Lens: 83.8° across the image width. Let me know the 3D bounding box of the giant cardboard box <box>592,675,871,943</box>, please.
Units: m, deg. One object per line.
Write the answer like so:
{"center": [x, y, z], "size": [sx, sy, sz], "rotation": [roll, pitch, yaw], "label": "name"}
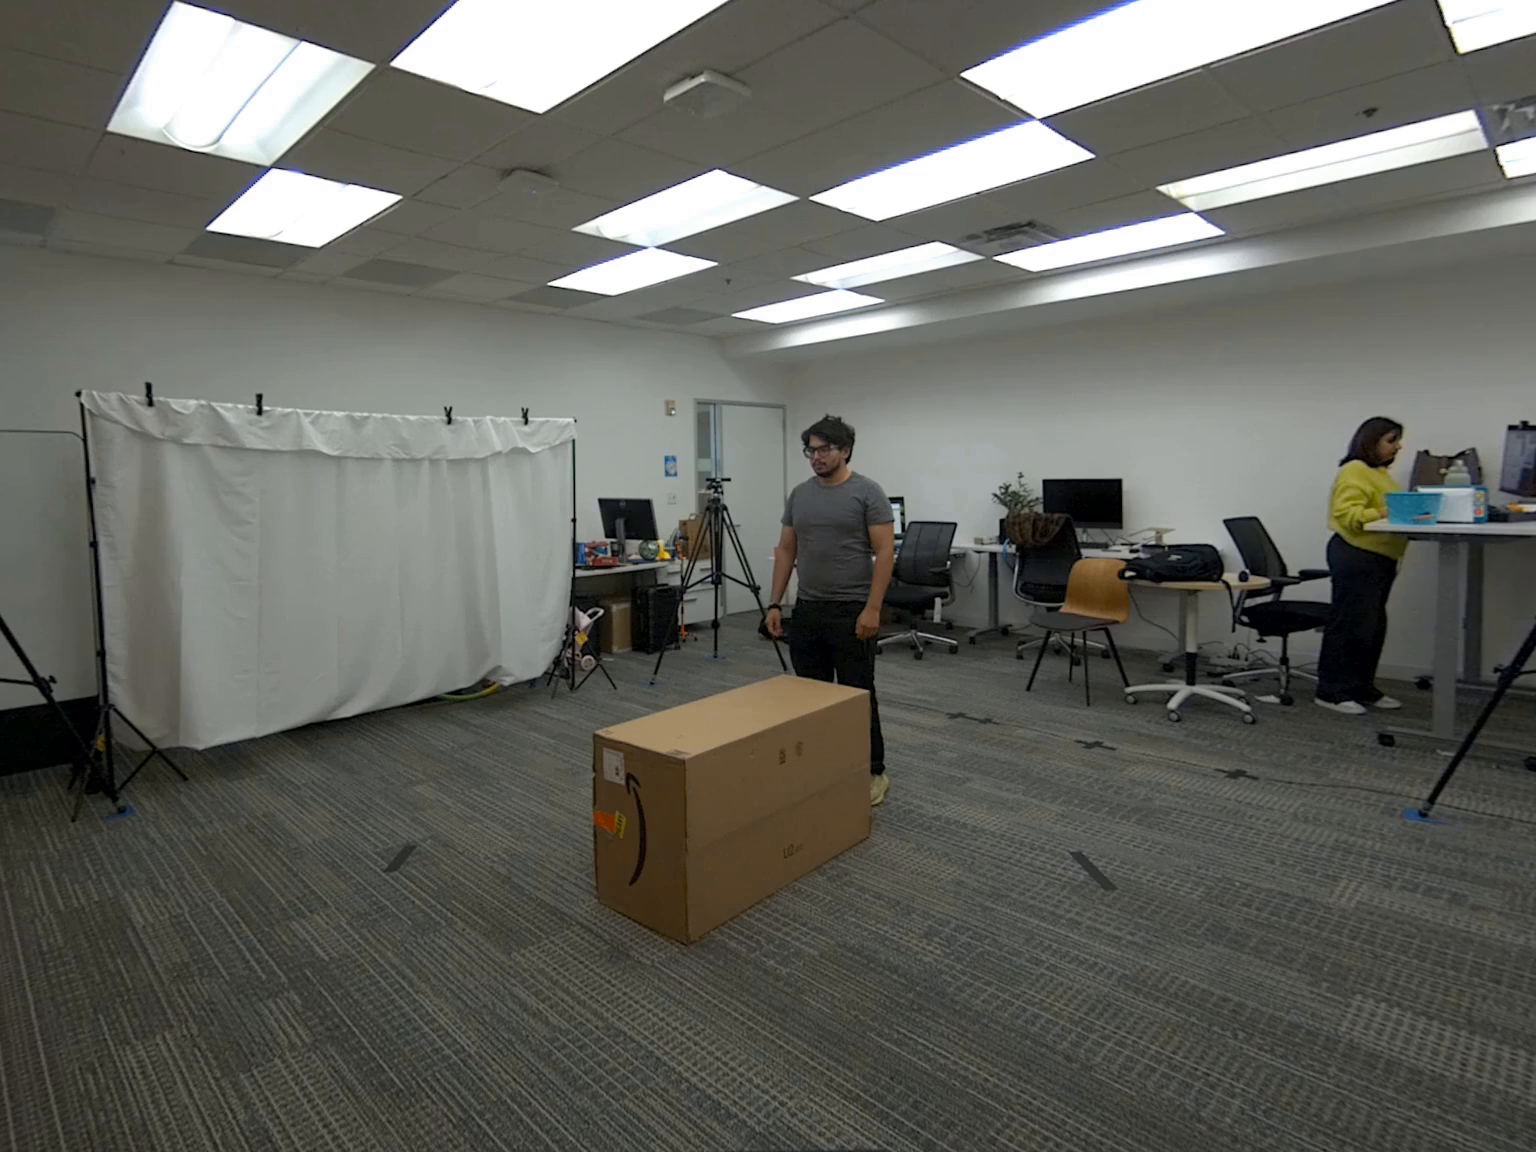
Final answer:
{"center": [-0.097, 0.757, 3.060], "size": [0.439, 0.575, 1.000], "rotation": [2, 7, 40], "label": "giant cardboard box"}
